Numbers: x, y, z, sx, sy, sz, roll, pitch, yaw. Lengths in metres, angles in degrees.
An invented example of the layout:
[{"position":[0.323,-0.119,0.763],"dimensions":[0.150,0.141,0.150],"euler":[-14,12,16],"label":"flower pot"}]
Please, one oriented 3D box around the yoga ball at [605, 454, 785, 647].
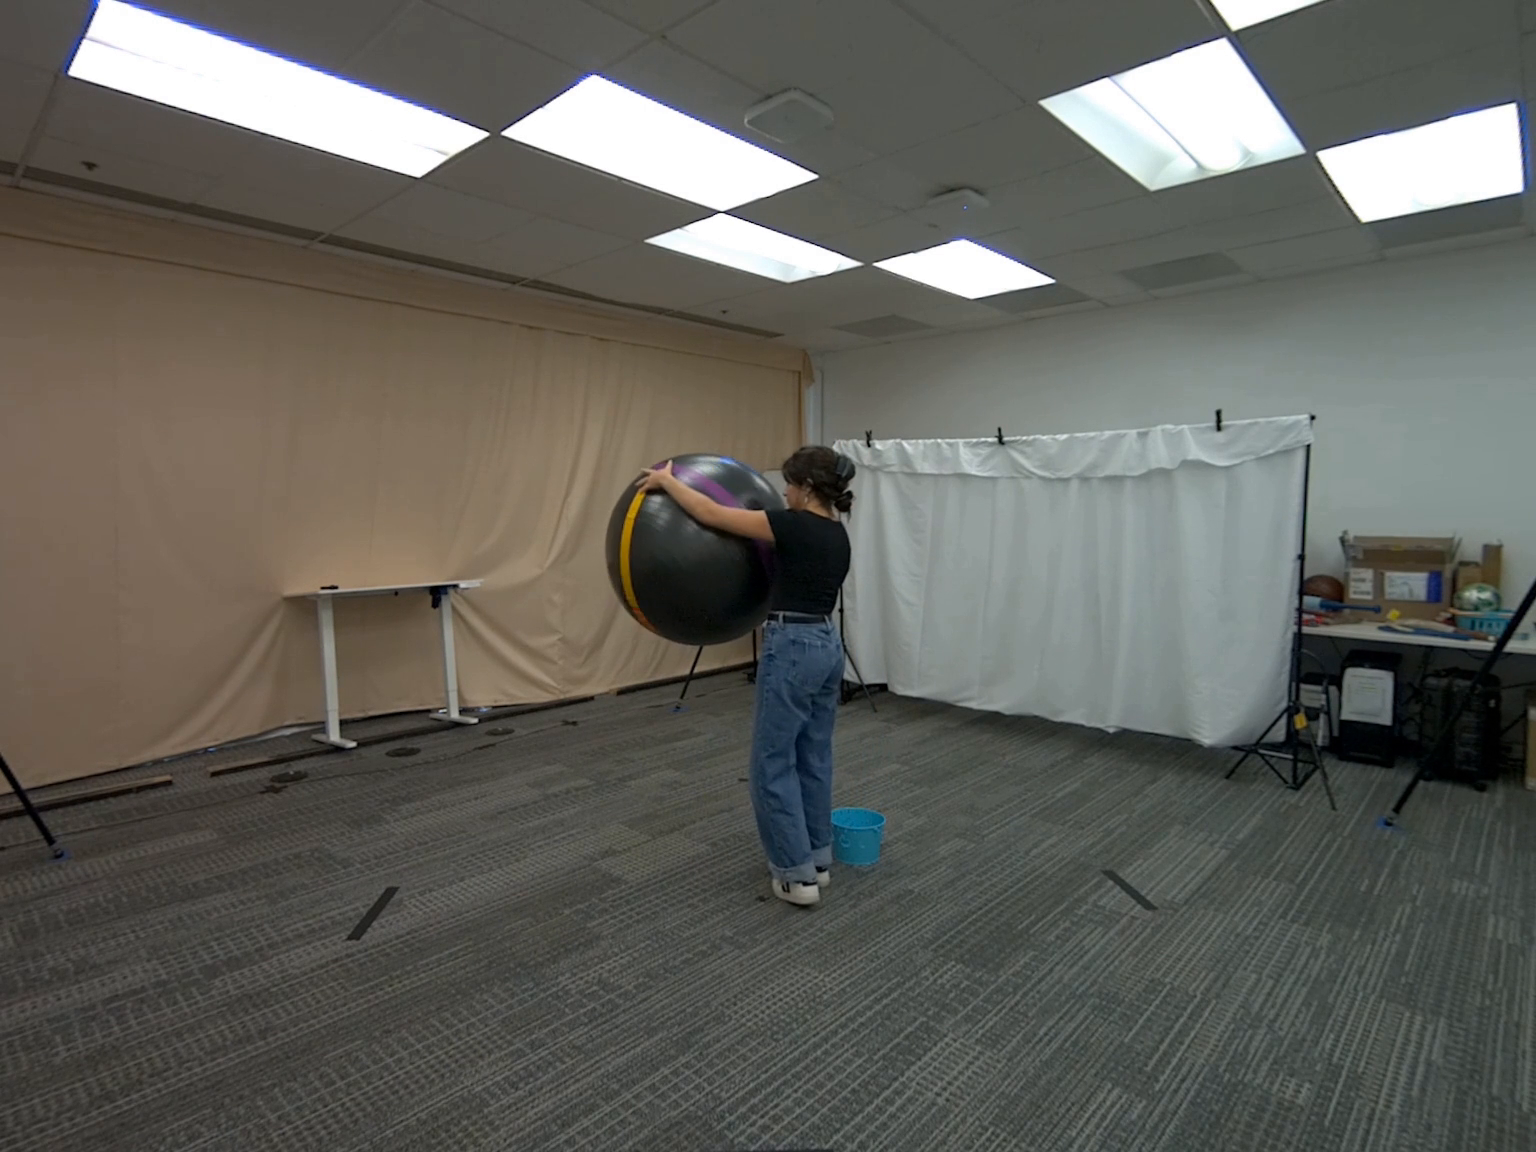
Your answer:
[{"position":[-0.273,-0.101,3.348],"dimensions":[0.757,0.756,0.760],"euler":[0,4,-2],"label":"yoga ball"}]
